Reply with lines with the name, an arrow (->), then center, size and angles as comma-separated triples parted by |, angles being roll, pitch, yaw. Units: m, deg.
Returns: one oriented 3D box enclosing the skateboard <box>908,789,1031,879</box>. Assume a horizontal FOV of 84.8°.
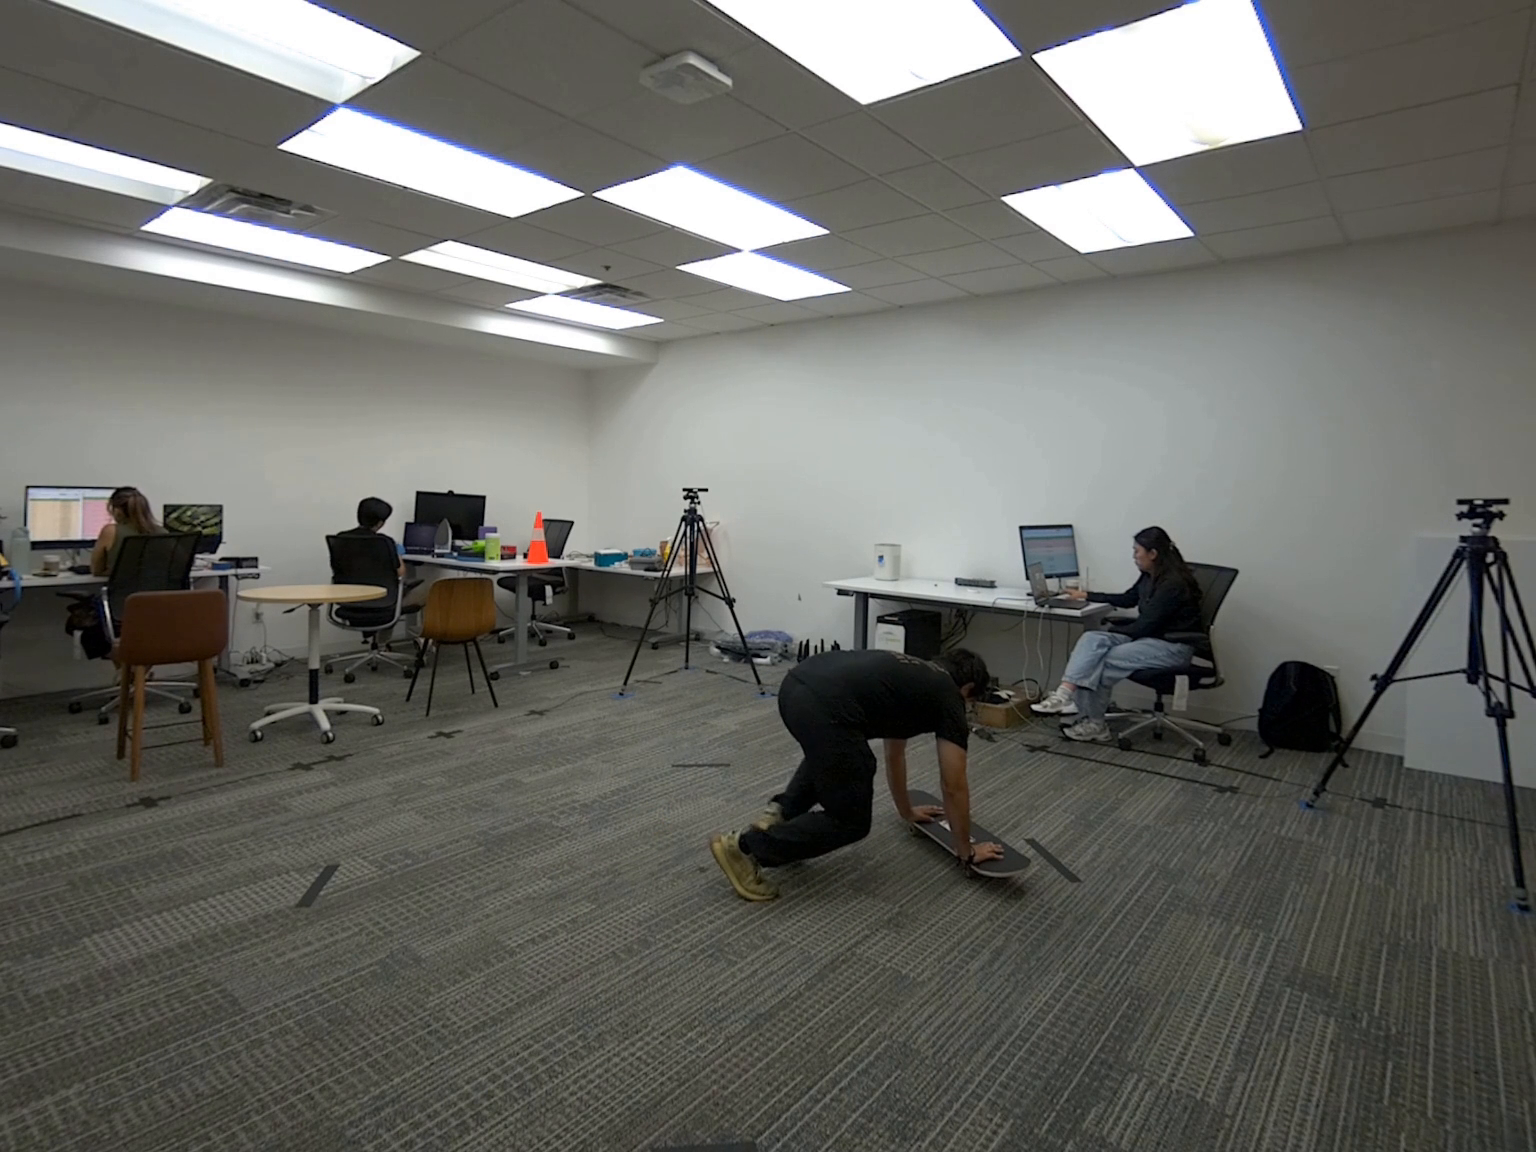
skateboard -> 0.731, 1.019, 3.306 | 0.190, 0.109, 0.804 | -10, 9, -19
